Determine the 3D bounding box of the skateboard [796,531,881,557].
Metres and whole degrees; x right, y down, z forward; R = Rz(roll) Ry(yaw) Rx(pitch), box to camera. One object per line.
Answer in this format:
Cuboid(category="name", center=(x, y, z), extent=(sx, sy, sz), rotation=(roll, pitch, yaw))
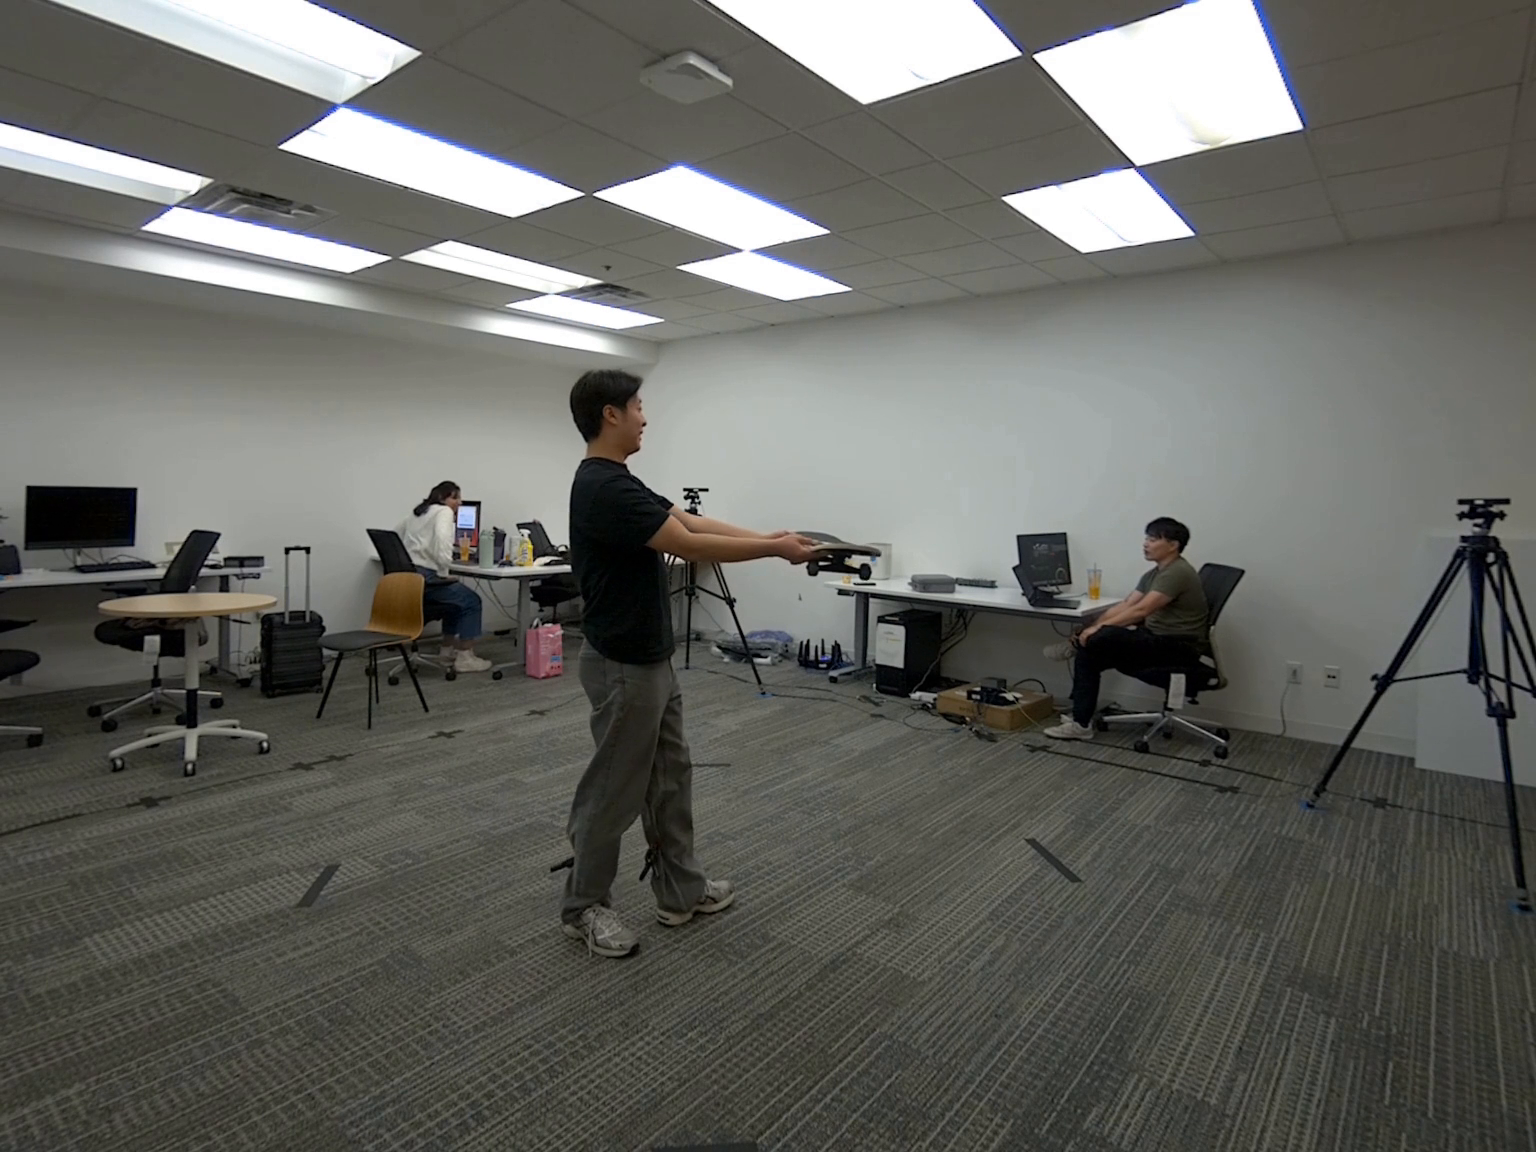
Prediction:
Cuboid(category="skateboard", center=(0.189, -0.065, 2.647), extent=(0.192, 0.110, 0.792), rotation=(3, 5, -6))
